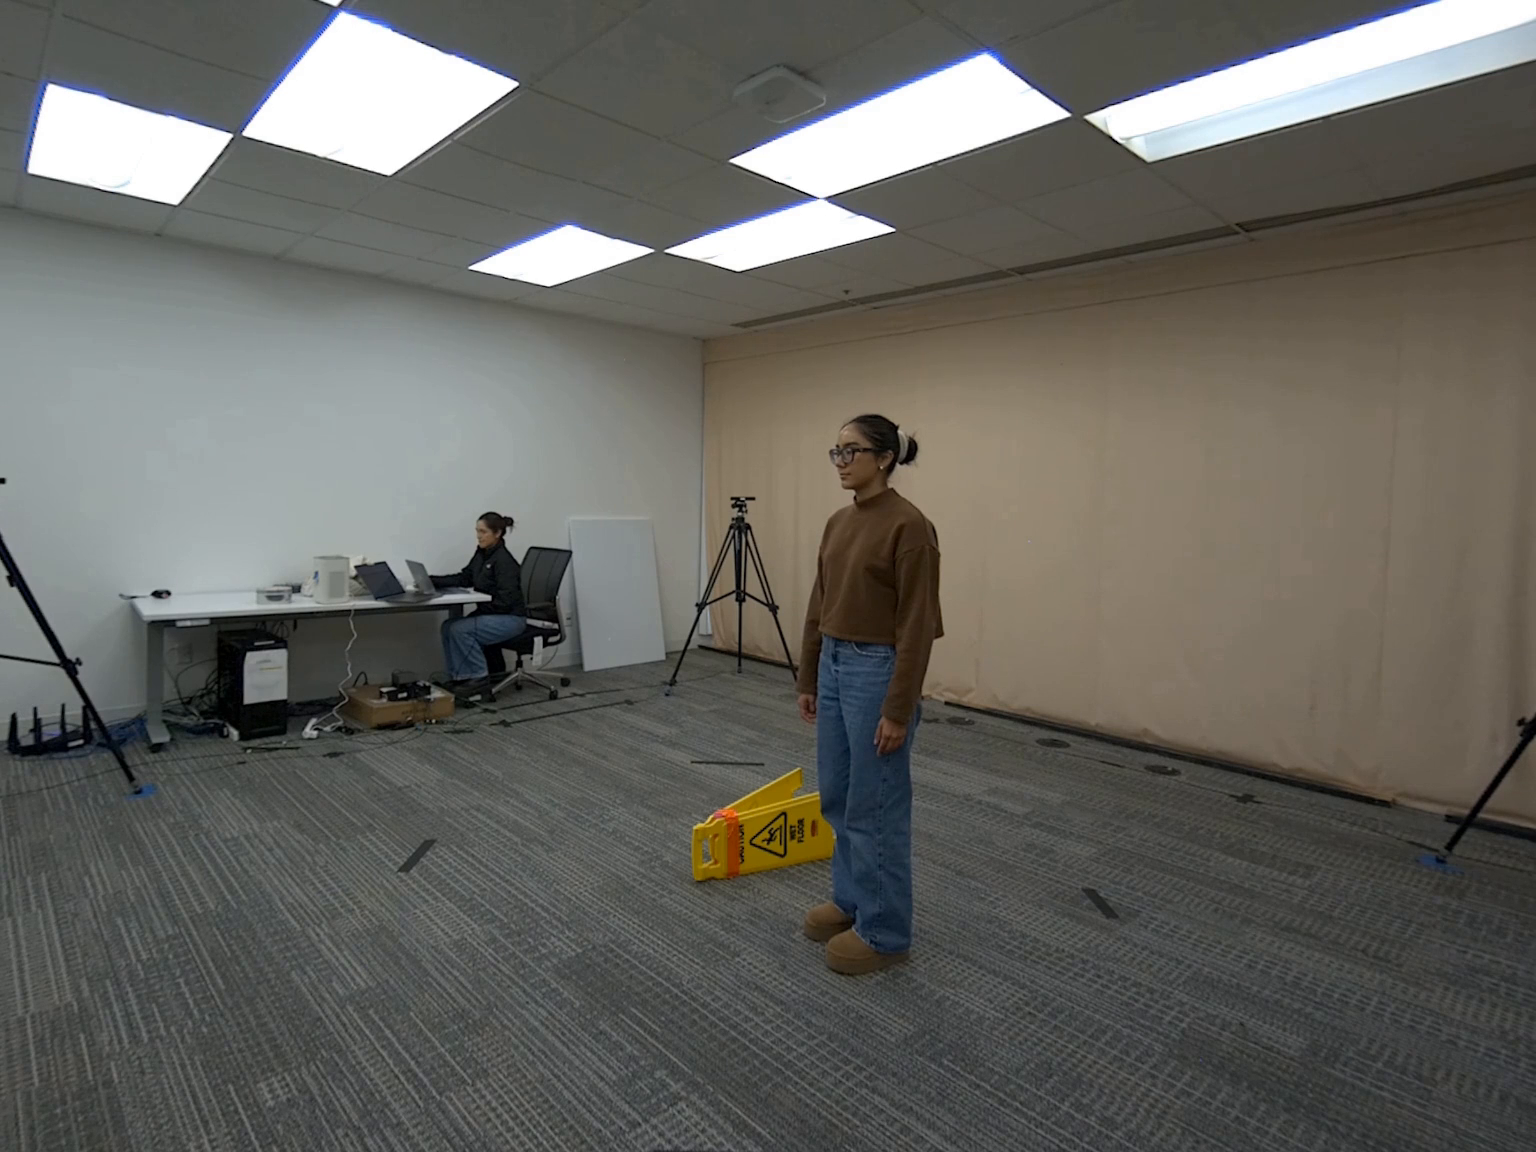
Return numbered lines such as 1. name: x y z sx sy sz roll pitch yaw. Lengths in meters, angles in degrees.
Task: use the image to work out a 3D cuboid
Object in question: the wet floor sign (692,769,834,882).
1. wet floor sign: -0.022 0.974 3.217 0.632 0.281 0.297 -6 7 -38
